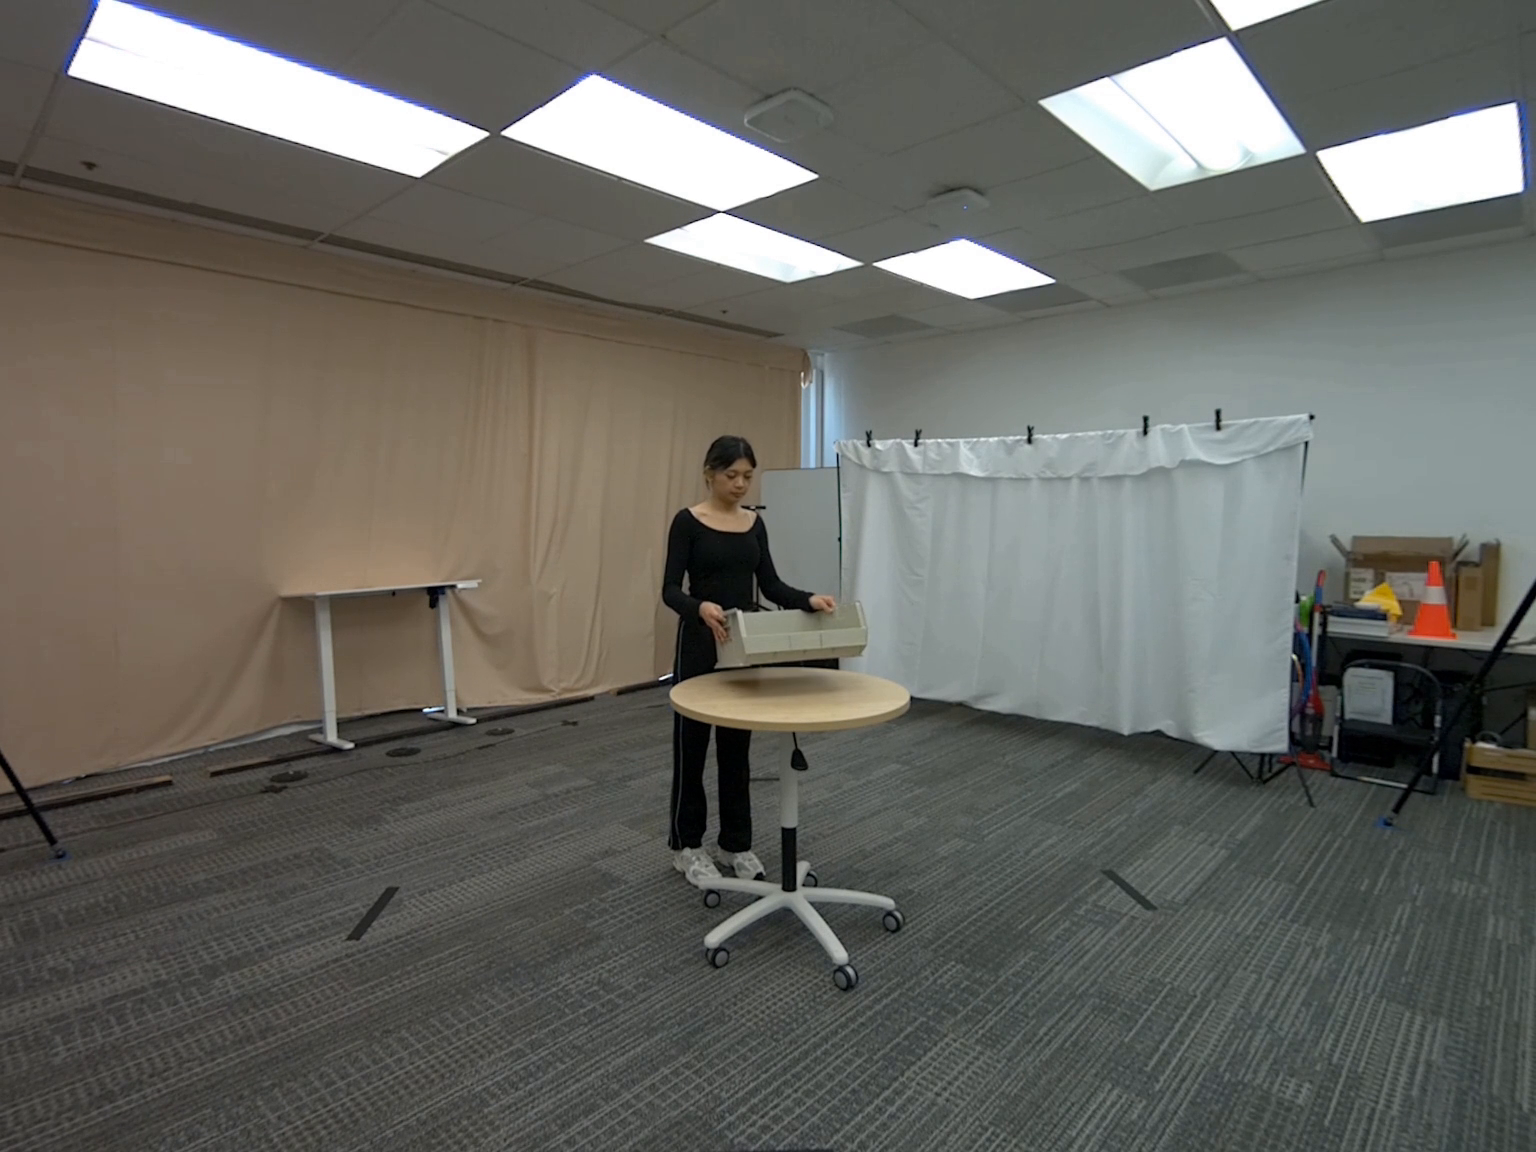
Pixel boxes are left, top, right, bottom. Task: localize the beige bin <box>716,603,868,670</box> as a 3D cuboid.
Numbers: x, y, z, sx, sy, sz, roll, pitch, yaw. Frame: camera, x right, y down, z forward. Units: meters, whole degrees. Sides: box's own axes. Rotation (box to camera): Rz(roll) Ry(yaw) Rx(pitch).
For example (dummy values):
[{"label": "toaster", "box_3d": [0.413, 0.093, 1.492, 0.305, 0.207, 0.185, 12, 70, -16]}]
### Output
[{"label": "beige bin", "box_3d": [0.067, 0.194, 2.761, 0.415, 0.190, 0.382, -4, -7, -18]}]
